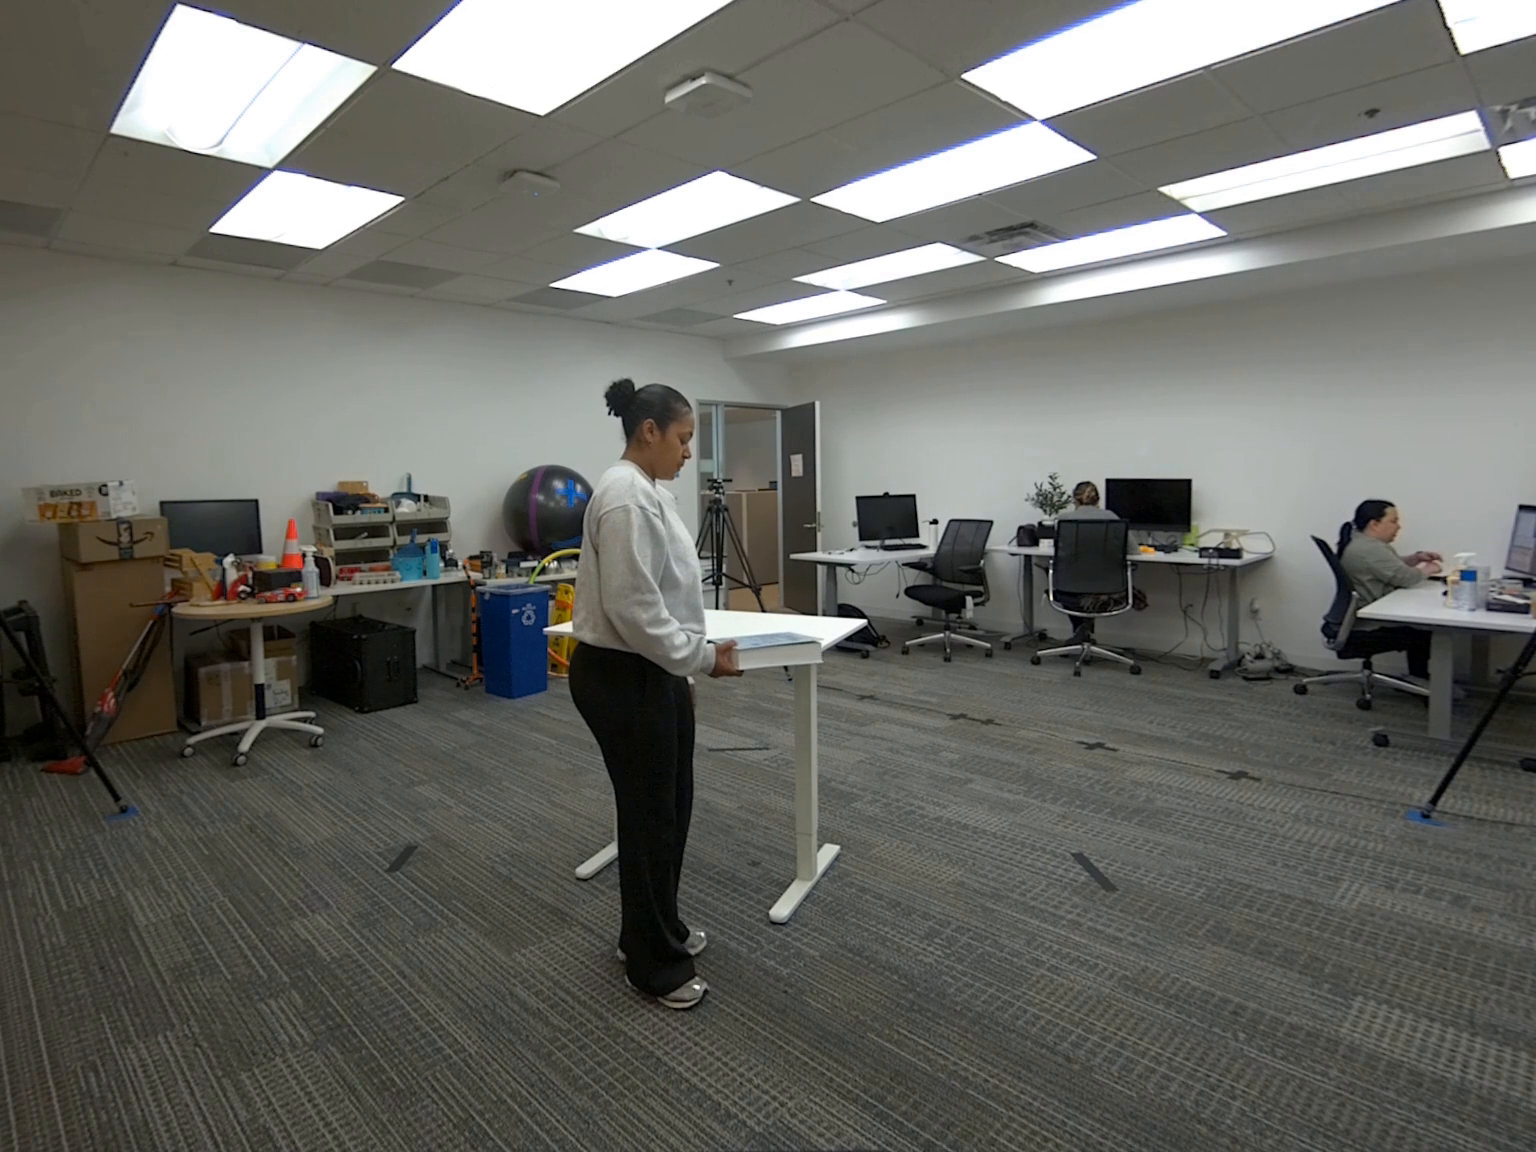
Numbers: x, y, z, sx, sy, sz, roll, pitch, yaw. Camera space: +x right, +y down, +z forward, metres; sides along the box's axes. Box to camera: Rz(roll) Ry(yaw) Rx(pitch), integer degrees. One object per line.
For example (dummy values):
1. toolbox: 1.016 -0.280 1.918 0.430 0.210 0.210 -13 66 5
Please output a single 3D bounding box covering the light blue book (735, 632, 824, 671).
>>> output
1. light blue book: -0.010 0.198 2.308 0.255 0.059 0.196 -3 5 -28
